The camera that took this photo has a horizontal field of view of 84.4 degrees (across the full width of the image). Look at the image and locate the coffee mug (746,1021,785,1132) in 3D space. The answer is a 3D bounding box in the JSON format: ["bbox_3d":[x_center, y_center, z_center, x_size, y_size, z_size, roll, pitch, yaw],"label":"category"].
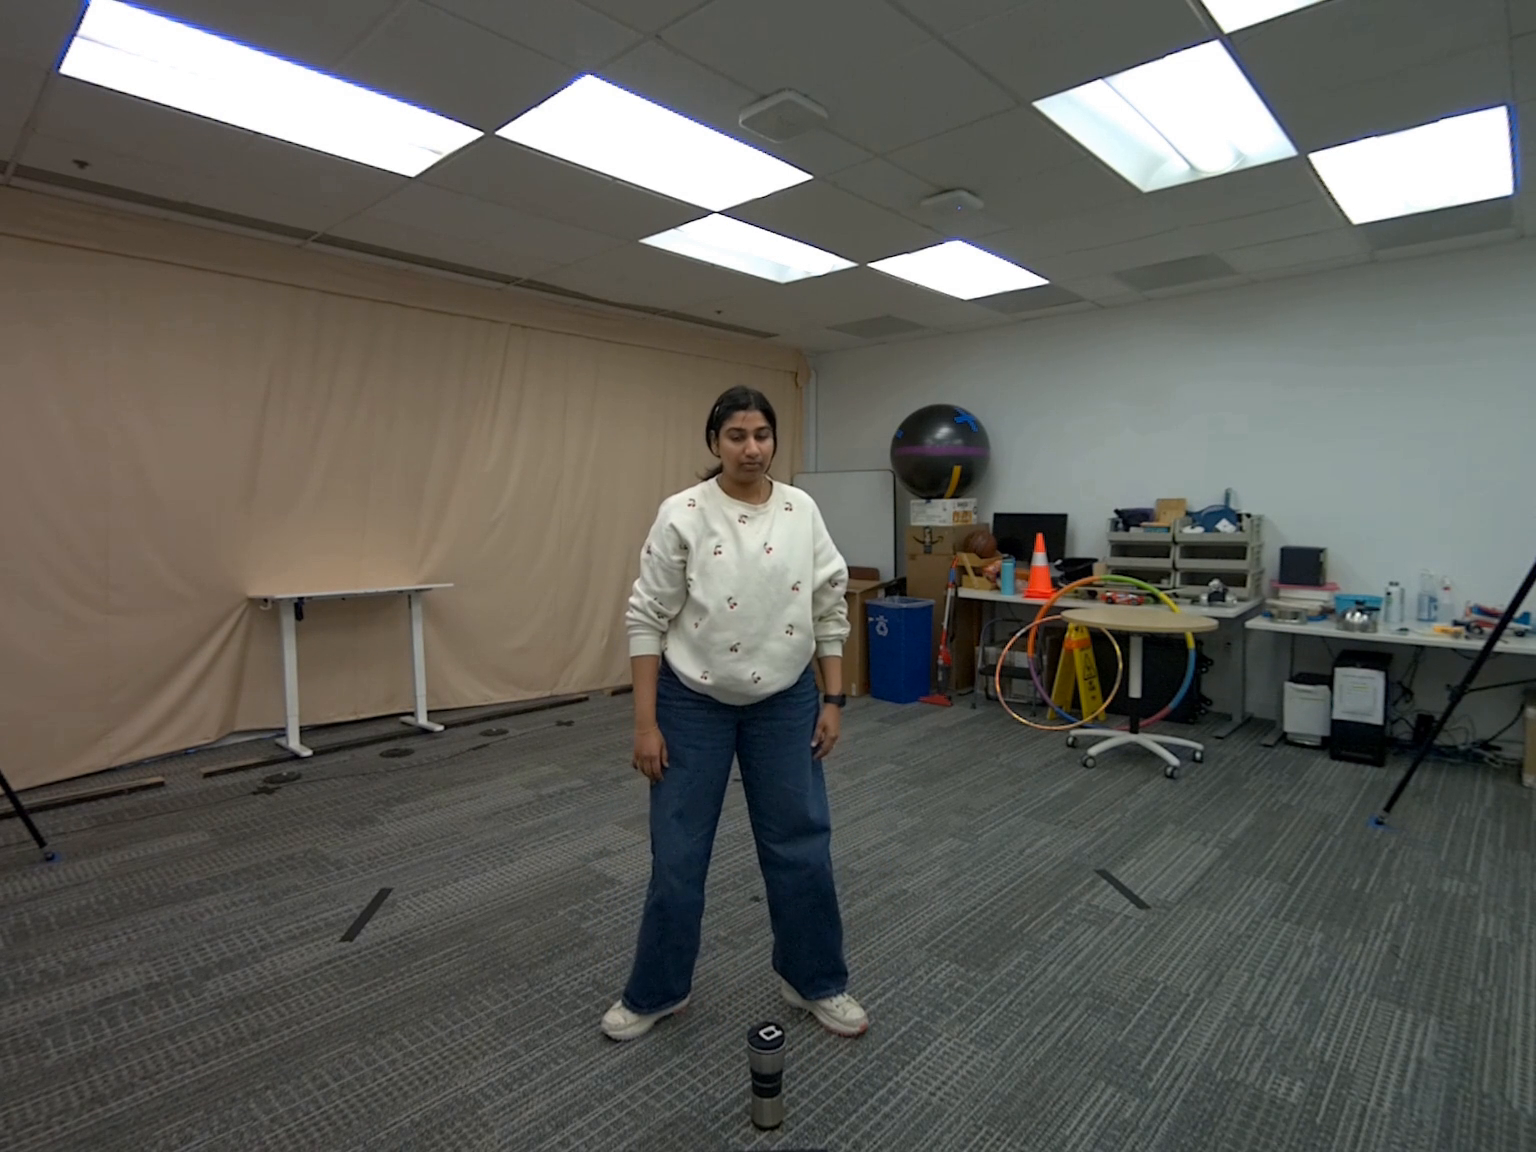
[{"bbox_3d":[0.015,1.140,1.906,0.090,0.202,0.118,-3,4,40],"label":"coffee mug"}]
